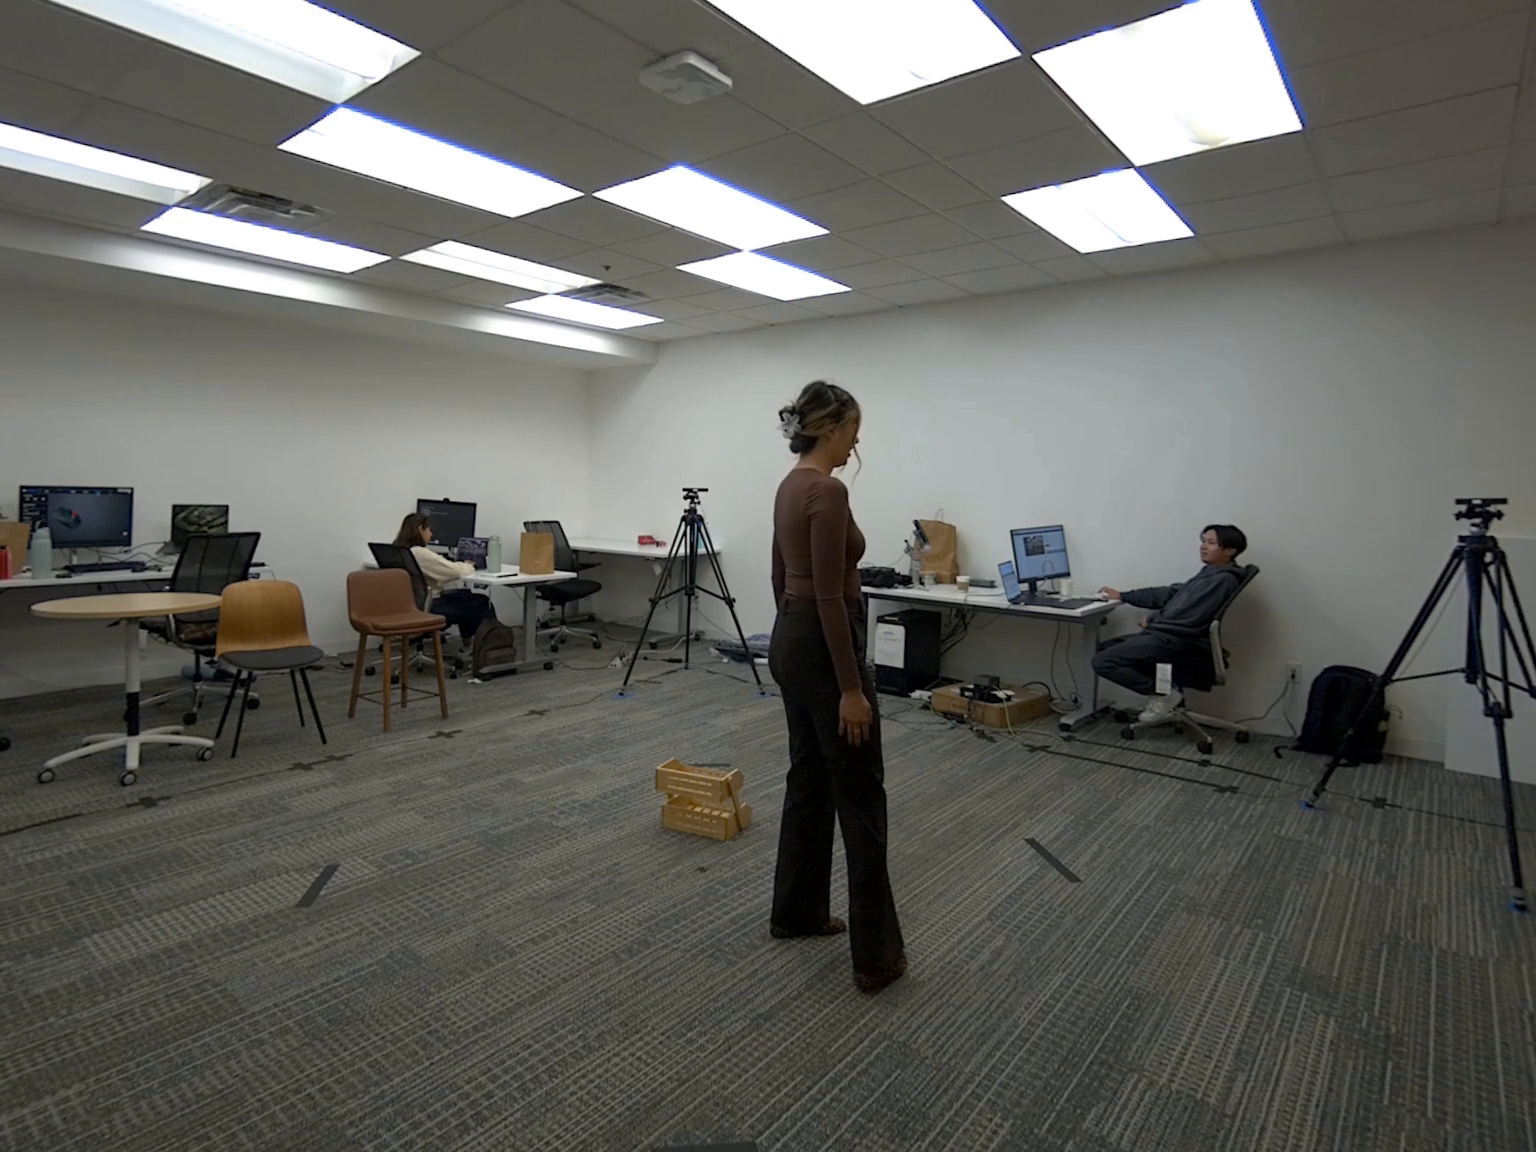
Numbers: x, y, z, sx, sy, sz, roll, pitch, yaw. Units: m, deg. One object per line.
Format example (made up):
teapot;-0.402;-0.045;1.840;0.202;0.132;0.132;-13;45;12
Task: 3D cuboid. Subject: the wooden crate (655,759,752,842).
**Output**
wooden crate;-0.271;0.896;3.518;0.333;0.272;0.295;3;5;25
